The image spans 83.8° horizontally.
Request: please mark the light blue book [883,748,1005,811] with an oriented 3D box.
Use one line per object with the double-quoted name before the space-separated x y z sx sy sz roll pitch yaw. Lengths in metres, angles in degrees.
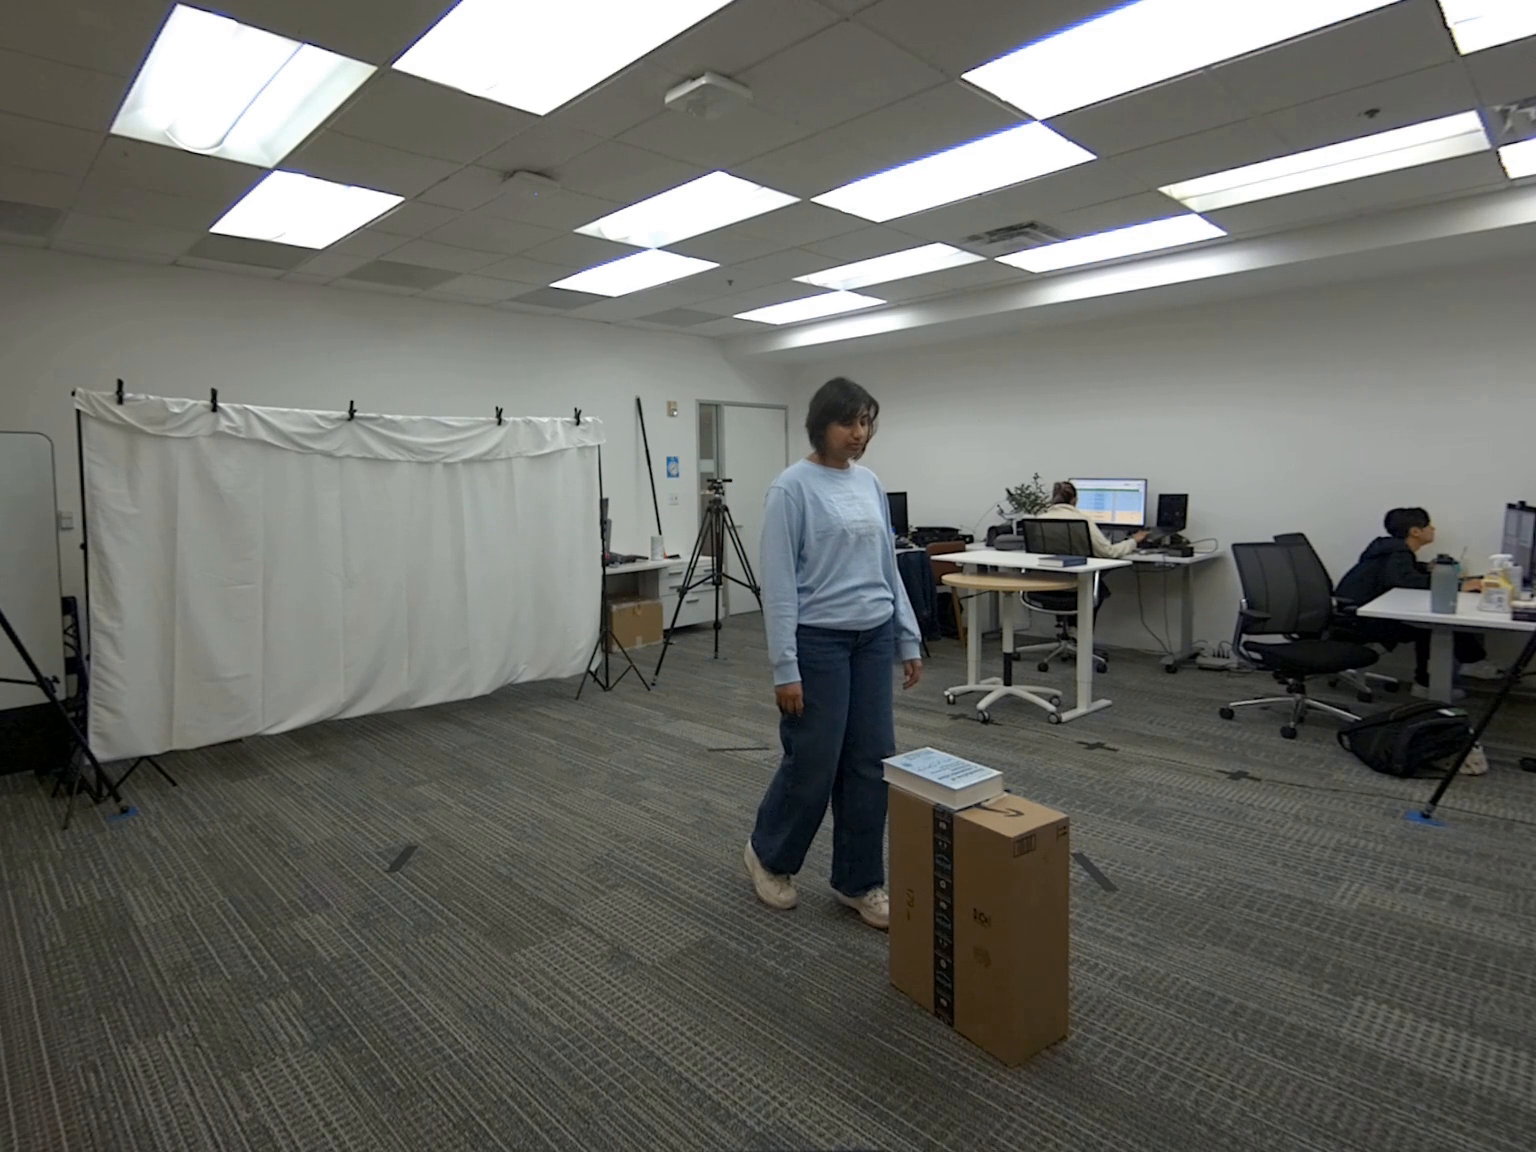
"light blue book" 0.462 0.537 2.290 0.187 0.059 0.269 -7 9 -35
